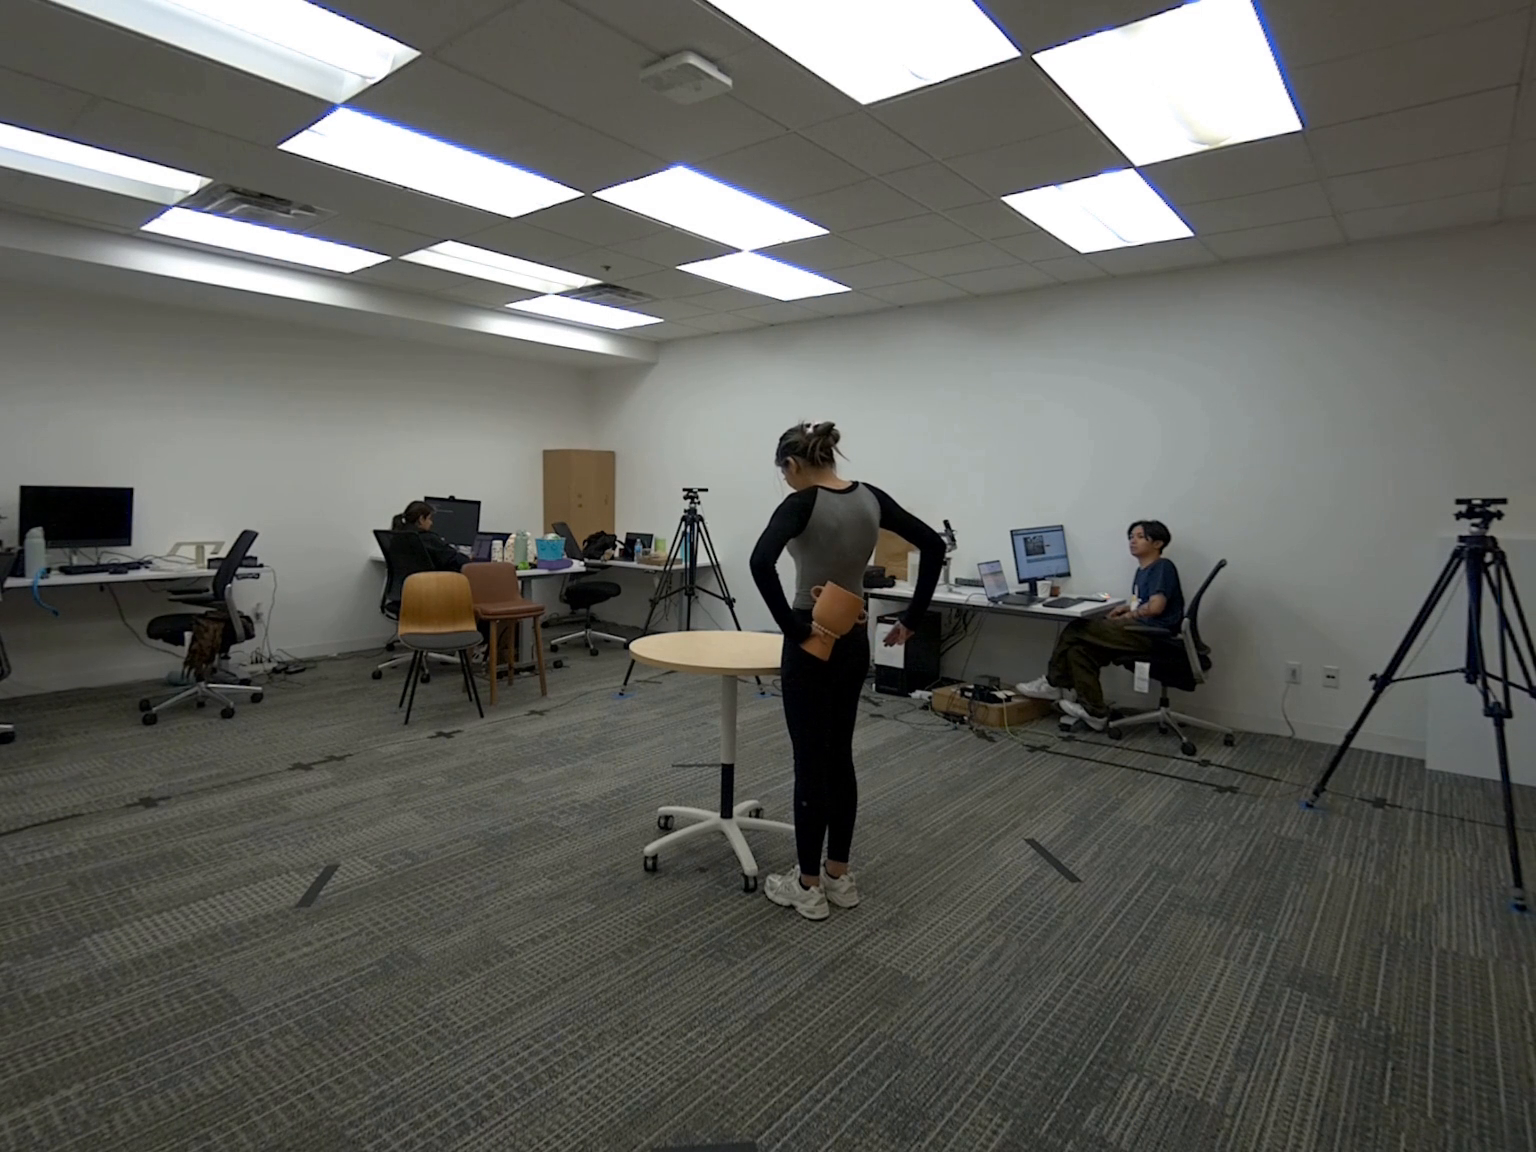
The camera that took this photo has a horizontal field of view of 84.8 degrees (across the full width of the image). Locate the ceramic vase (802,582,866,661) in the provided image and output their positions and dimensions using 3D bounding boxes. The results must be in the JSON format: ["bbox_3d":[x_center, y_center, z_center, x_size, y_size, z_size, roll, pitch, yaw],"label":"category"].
[{"bbox_3d":[0.188,0.143,2.631,0.130,0.220,0.165,27,1,-33],"label":"ceramic vase"}]
